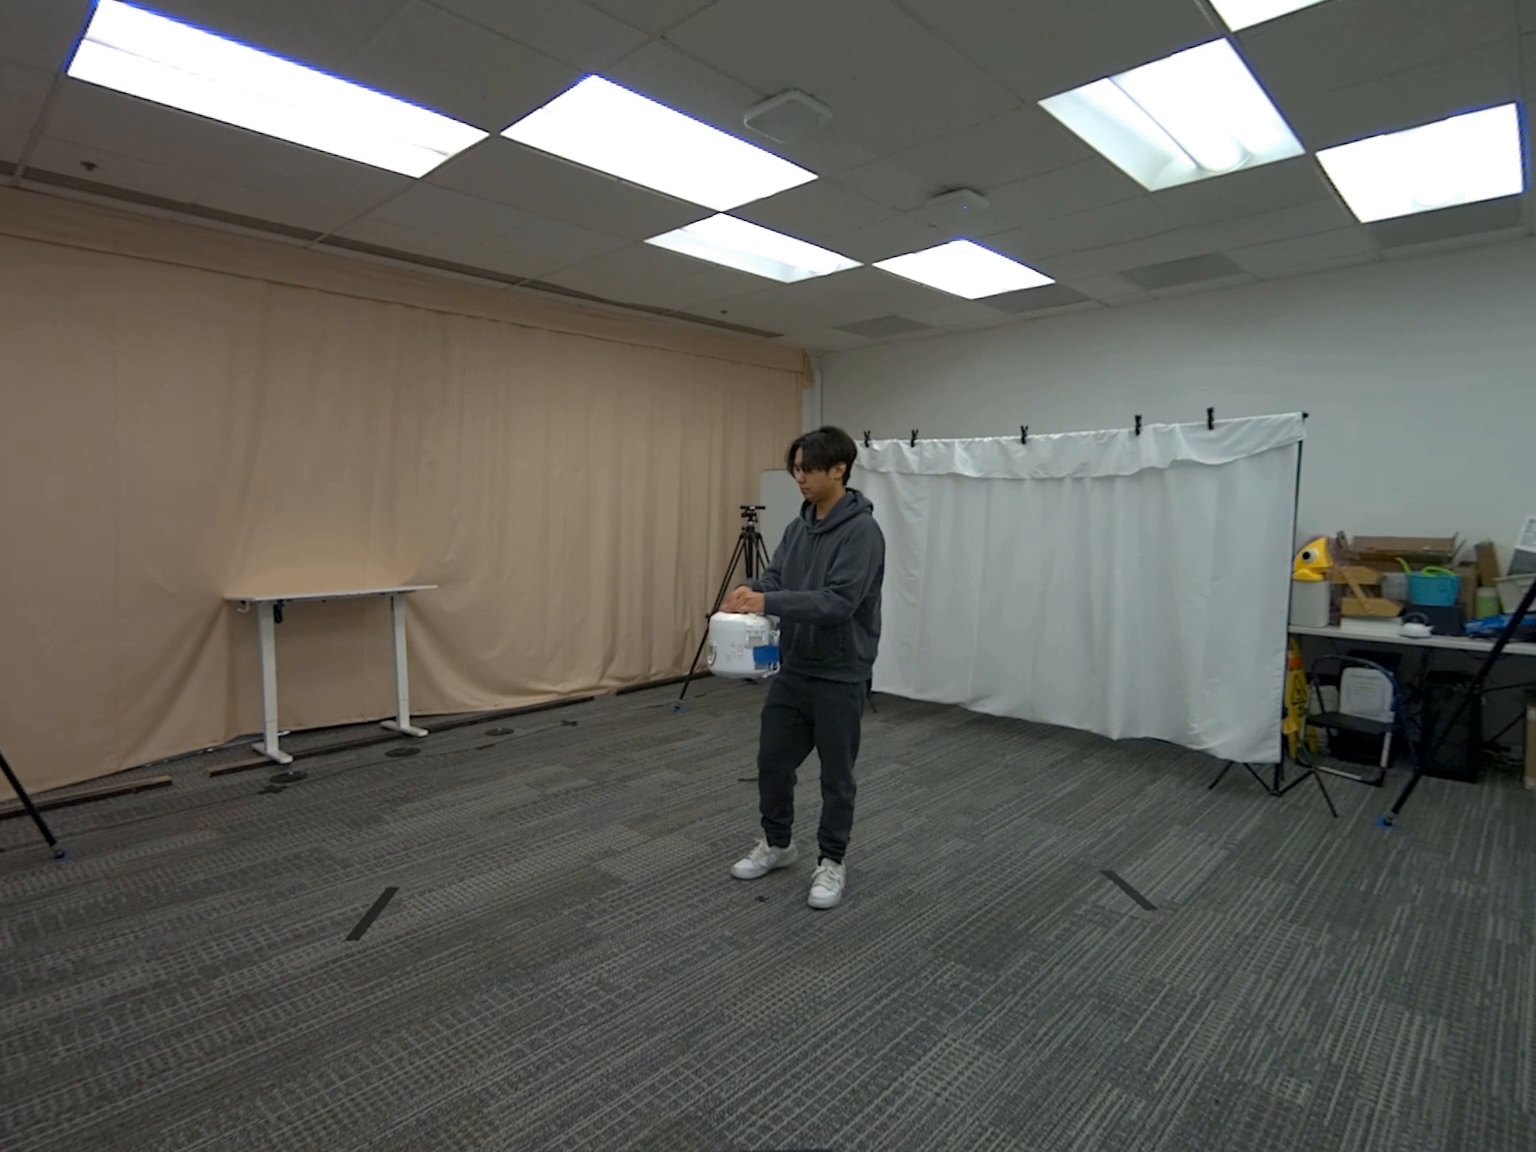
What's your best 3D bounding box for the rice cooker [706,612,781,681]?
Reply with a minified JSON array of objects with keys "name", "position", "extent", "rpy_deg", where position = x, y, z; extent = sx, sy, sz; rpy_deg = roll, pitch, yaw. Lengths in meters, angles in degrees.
[{"name":"rice cooker","position":[-0.088,0.215,2.796],"extent":[0.212,0.233,0.226],"rpy_deg":[3,0,-25]}]
